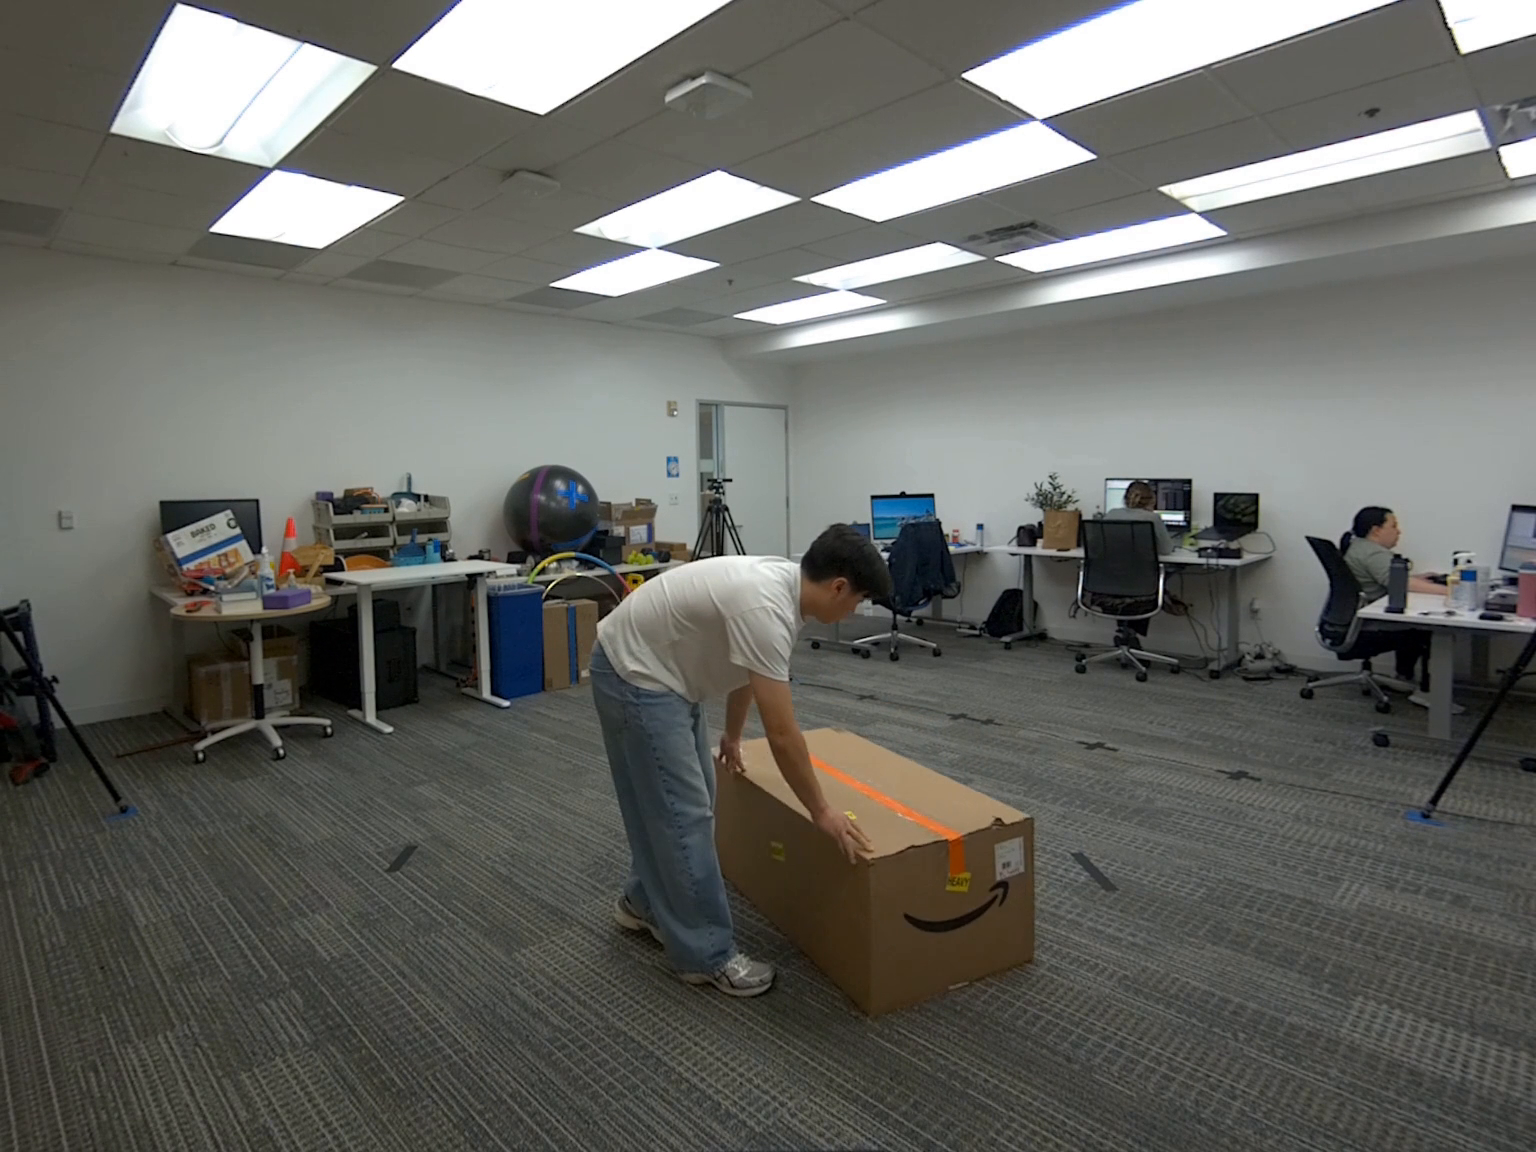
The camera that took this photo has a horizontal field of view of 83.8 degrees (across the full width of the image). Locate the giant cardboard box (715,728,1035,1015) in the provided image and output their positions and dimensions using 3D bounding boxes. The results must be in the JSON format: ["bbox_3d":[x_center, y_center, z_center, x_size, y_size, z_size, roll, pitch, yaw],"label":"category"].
[{"bbox_3d":[0.275,0.861,2.786,0.565,0.424,1.053,-5,7,-27],"label":"giant cardboard box"}]
